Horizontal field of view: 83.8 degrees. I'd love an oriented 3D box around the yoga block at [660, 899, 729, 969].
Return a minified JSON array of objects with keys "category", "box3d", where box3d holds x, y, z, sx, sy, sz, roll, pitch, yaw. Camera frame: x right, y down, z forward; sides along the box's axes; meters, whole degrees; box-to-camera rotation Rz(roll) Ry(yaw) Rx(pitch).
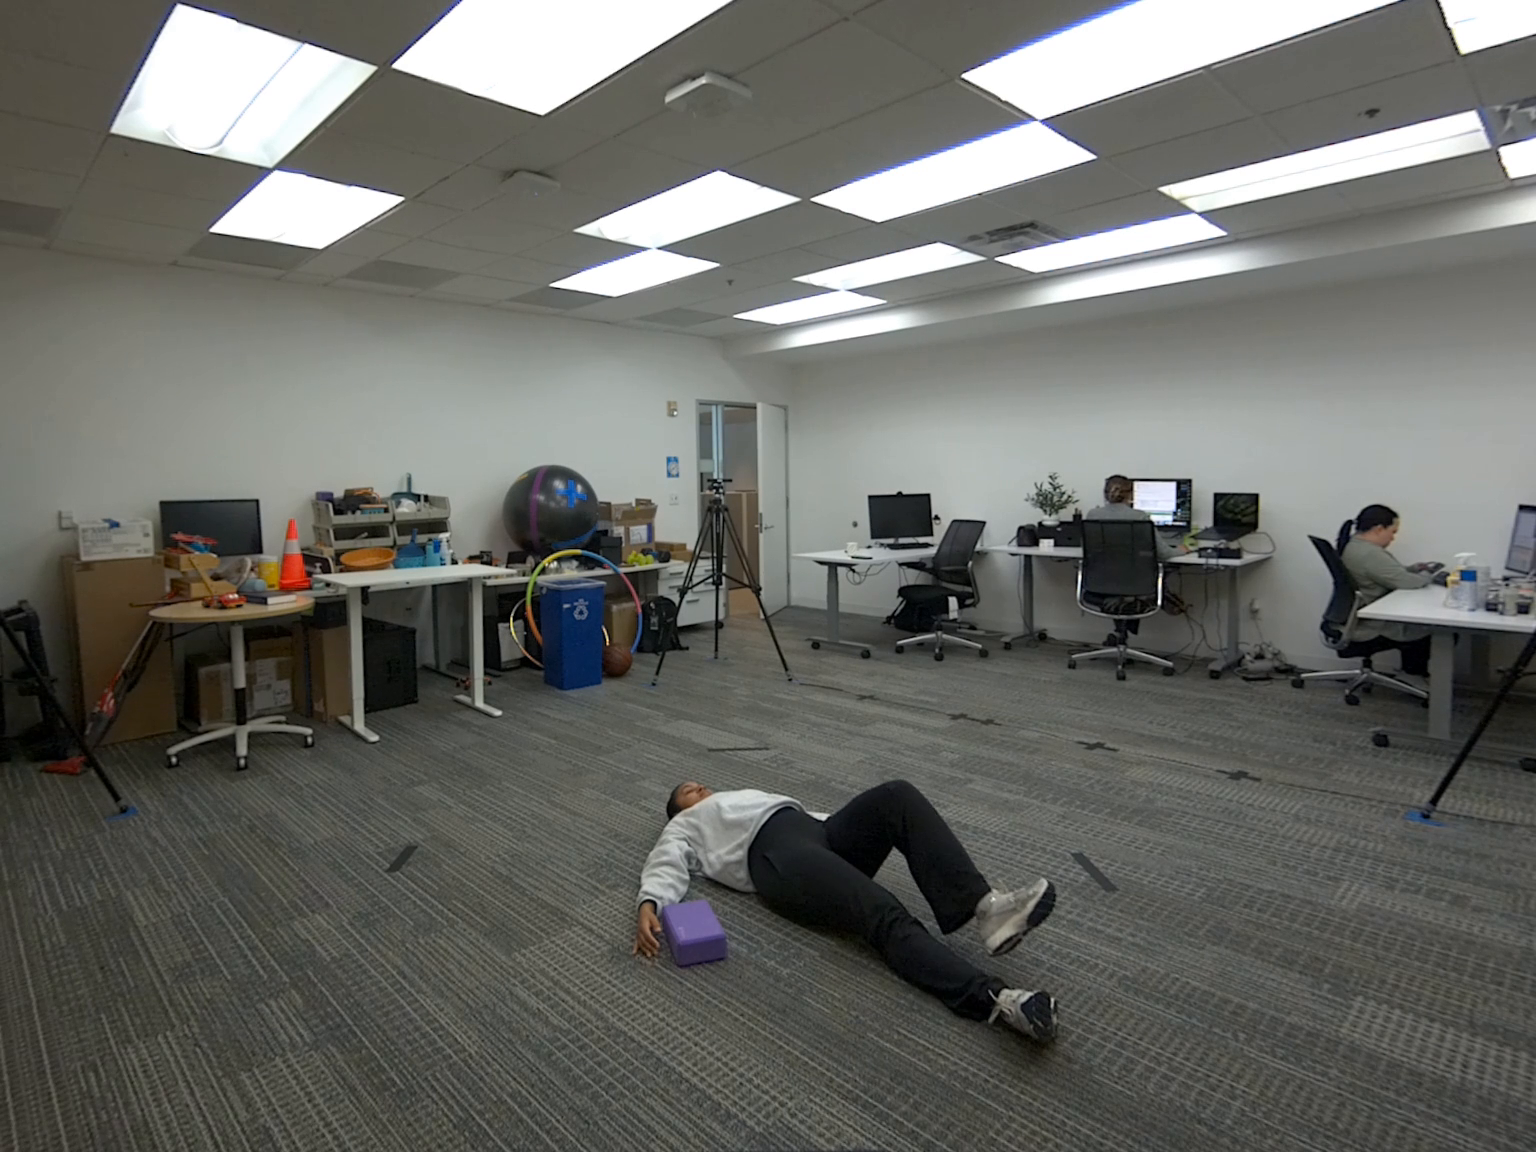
[{"category":"yoga block","box3d":[-0.219,1.071,2.572,0.147,0.076,0.234,-4,7,-18]}]
